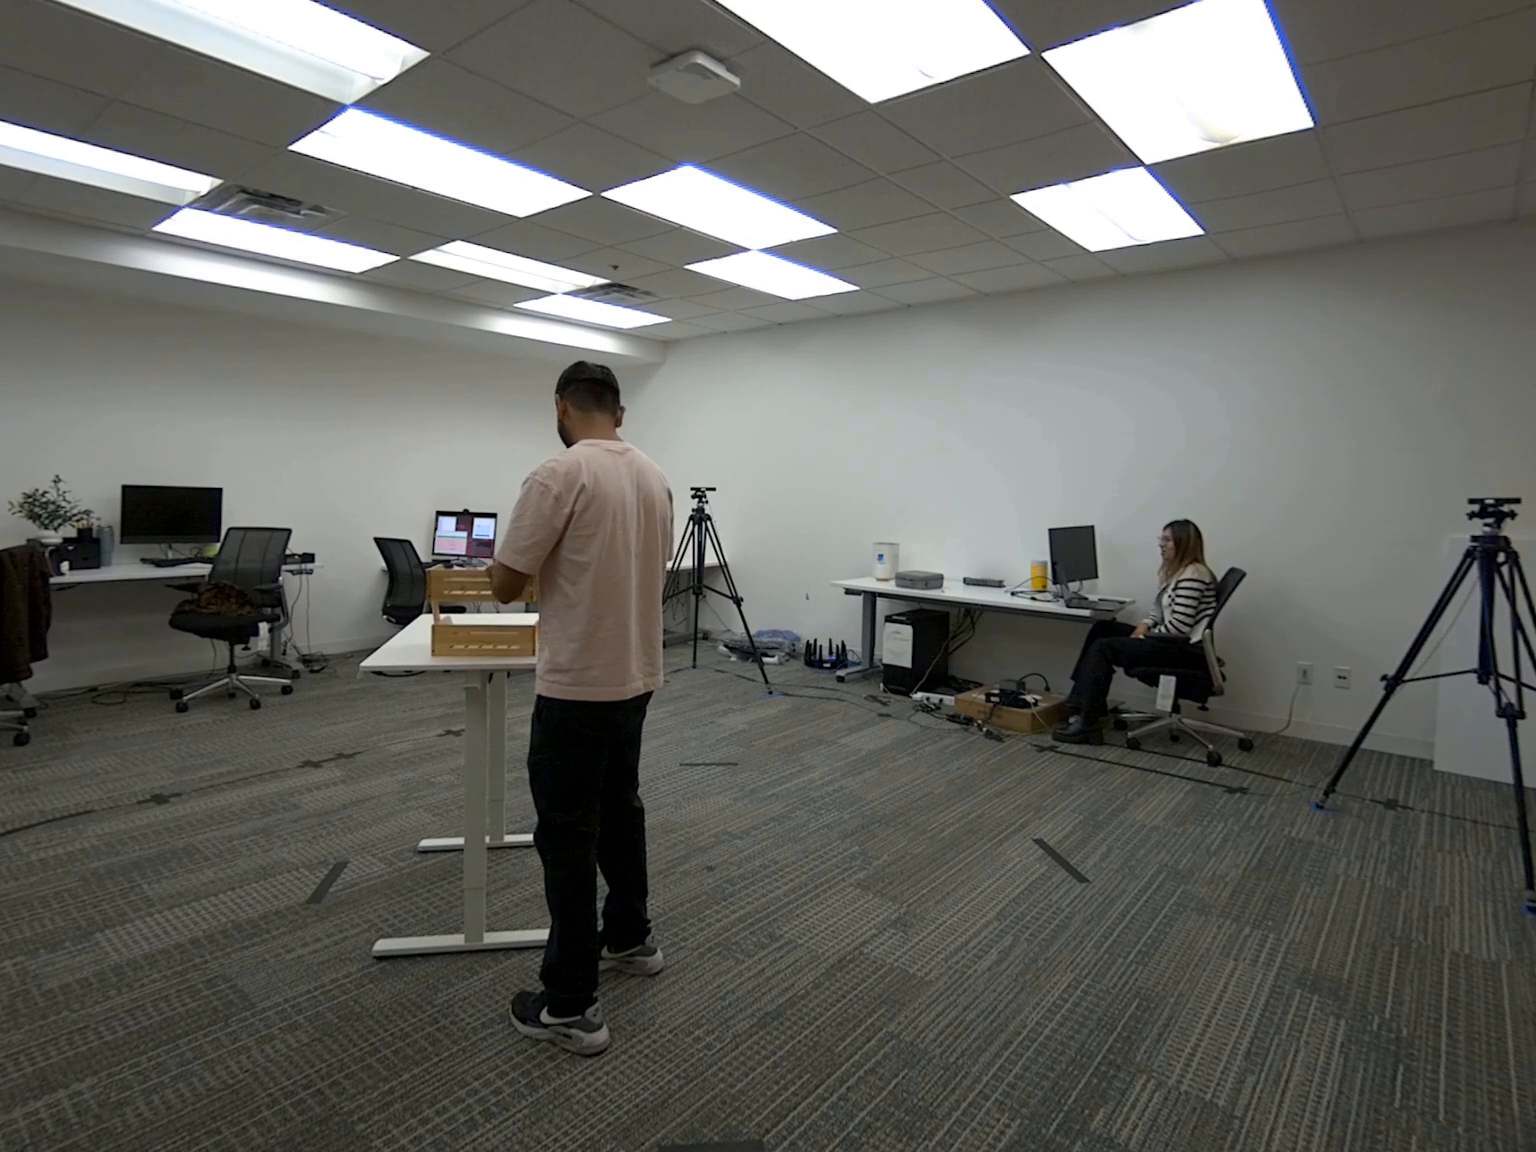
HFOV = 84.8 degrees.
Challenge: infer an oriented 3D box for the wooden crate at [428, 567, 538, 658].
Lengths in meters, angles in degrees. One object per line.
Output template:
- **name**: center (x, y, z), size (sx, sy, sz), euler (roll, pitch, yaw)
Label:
- **wooden crate**: center (-0.870, 0.093, 2.580), size (0.321, 0.272, 0.306), euler (1, 5, -9)
